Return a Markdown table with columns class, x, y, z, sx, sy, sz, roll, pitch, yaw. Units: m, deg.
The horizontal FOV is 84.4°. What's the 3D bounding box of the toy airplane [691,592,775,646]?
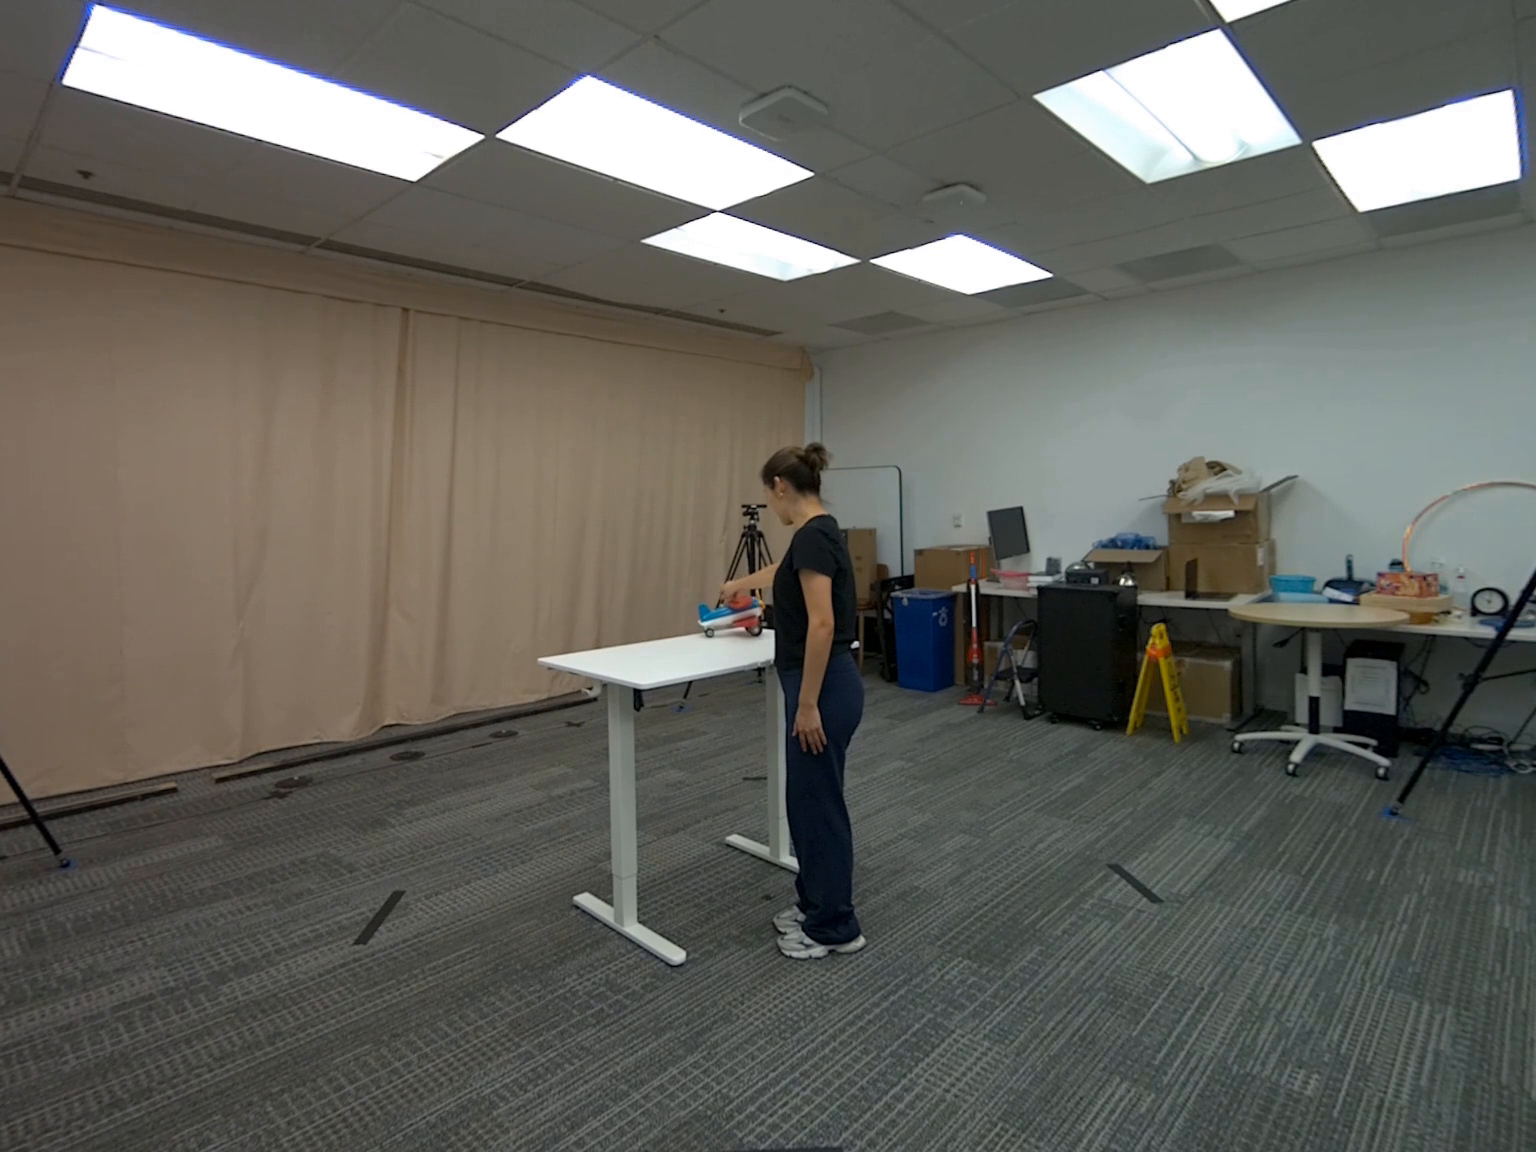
| class | x | y | z | sx | sy | sz | roll | pitch | yaw |
| --- | --- | --- | --- | --- | --- | --- | --- | --- | --- |
| toy airplane | -0.122 | 0.157 | 3.284 | 0.252 | 0.156 | 0.259 | -4 | 6 | -37 |
